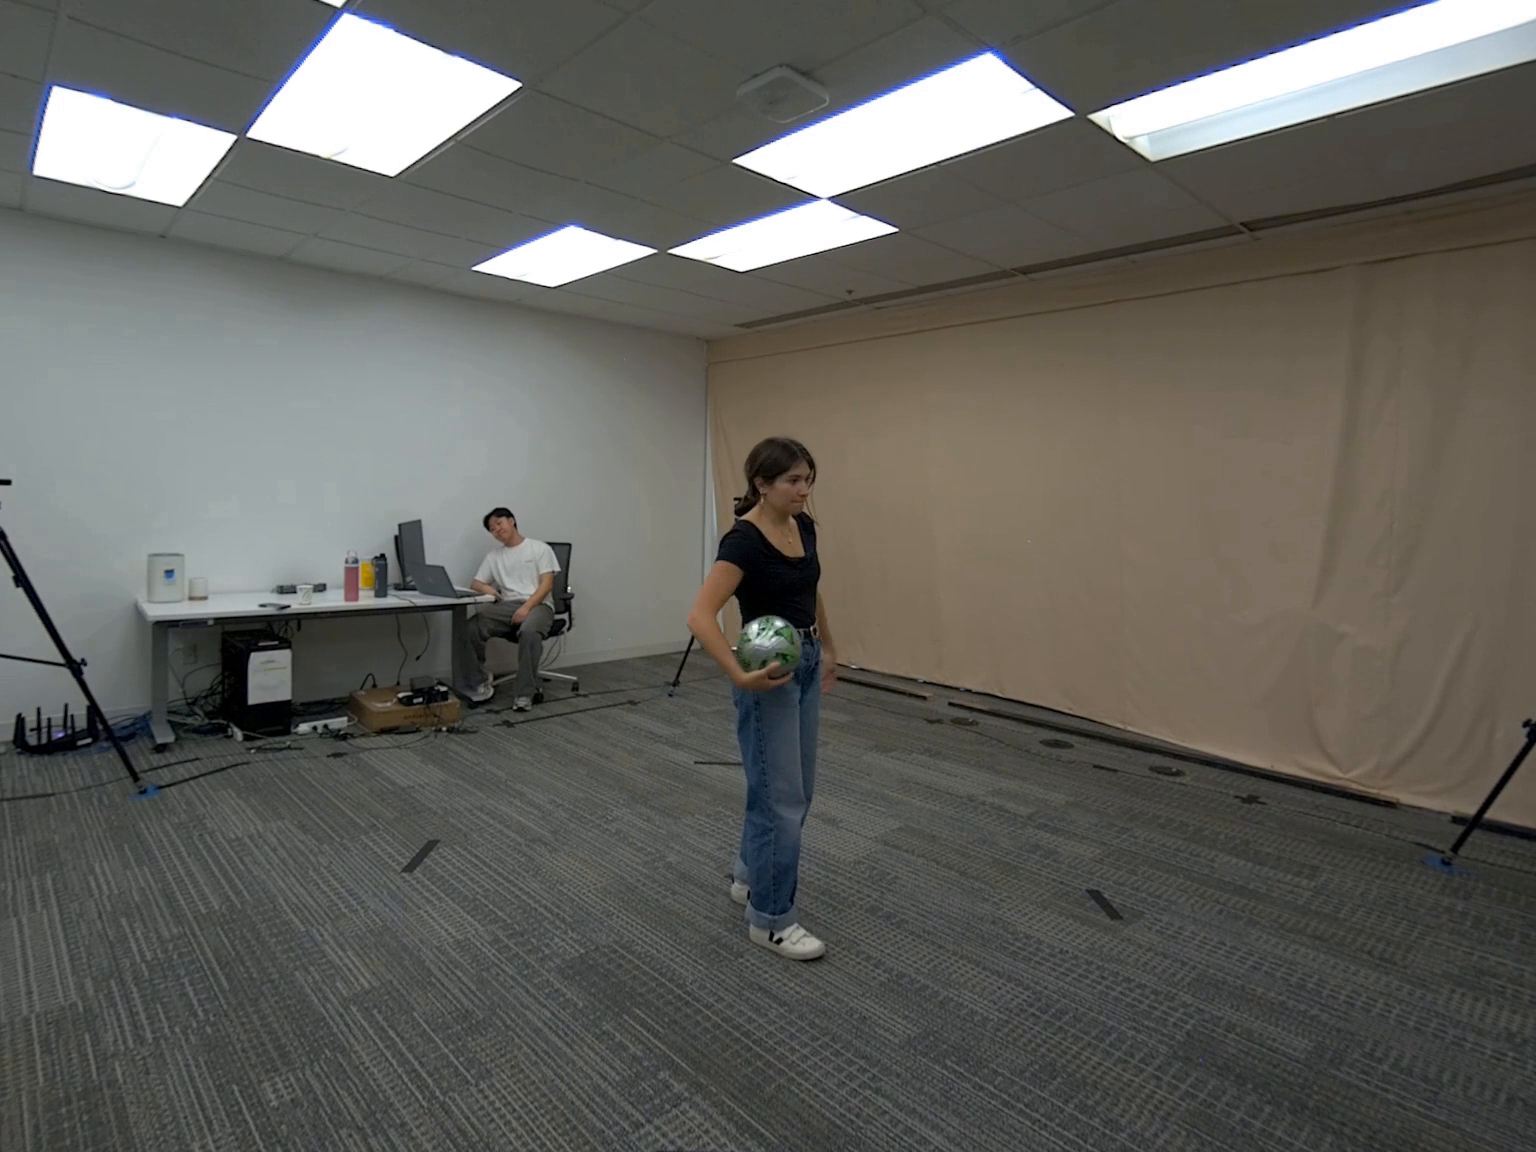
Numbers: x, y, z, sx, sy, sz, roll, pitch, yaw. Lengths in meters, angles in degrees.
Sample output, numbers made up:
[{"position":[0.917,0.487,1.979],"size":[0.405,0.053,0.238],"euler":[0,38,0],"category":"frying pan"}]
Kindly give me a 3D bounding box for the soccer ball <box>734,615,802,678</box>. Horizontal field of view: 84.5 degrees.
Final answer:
[{"position":[-0.004,0.206,2.463],"size":[0.187,0.187,0.188],"euler":[1,4,-1],"category":"soccer ball"}]
